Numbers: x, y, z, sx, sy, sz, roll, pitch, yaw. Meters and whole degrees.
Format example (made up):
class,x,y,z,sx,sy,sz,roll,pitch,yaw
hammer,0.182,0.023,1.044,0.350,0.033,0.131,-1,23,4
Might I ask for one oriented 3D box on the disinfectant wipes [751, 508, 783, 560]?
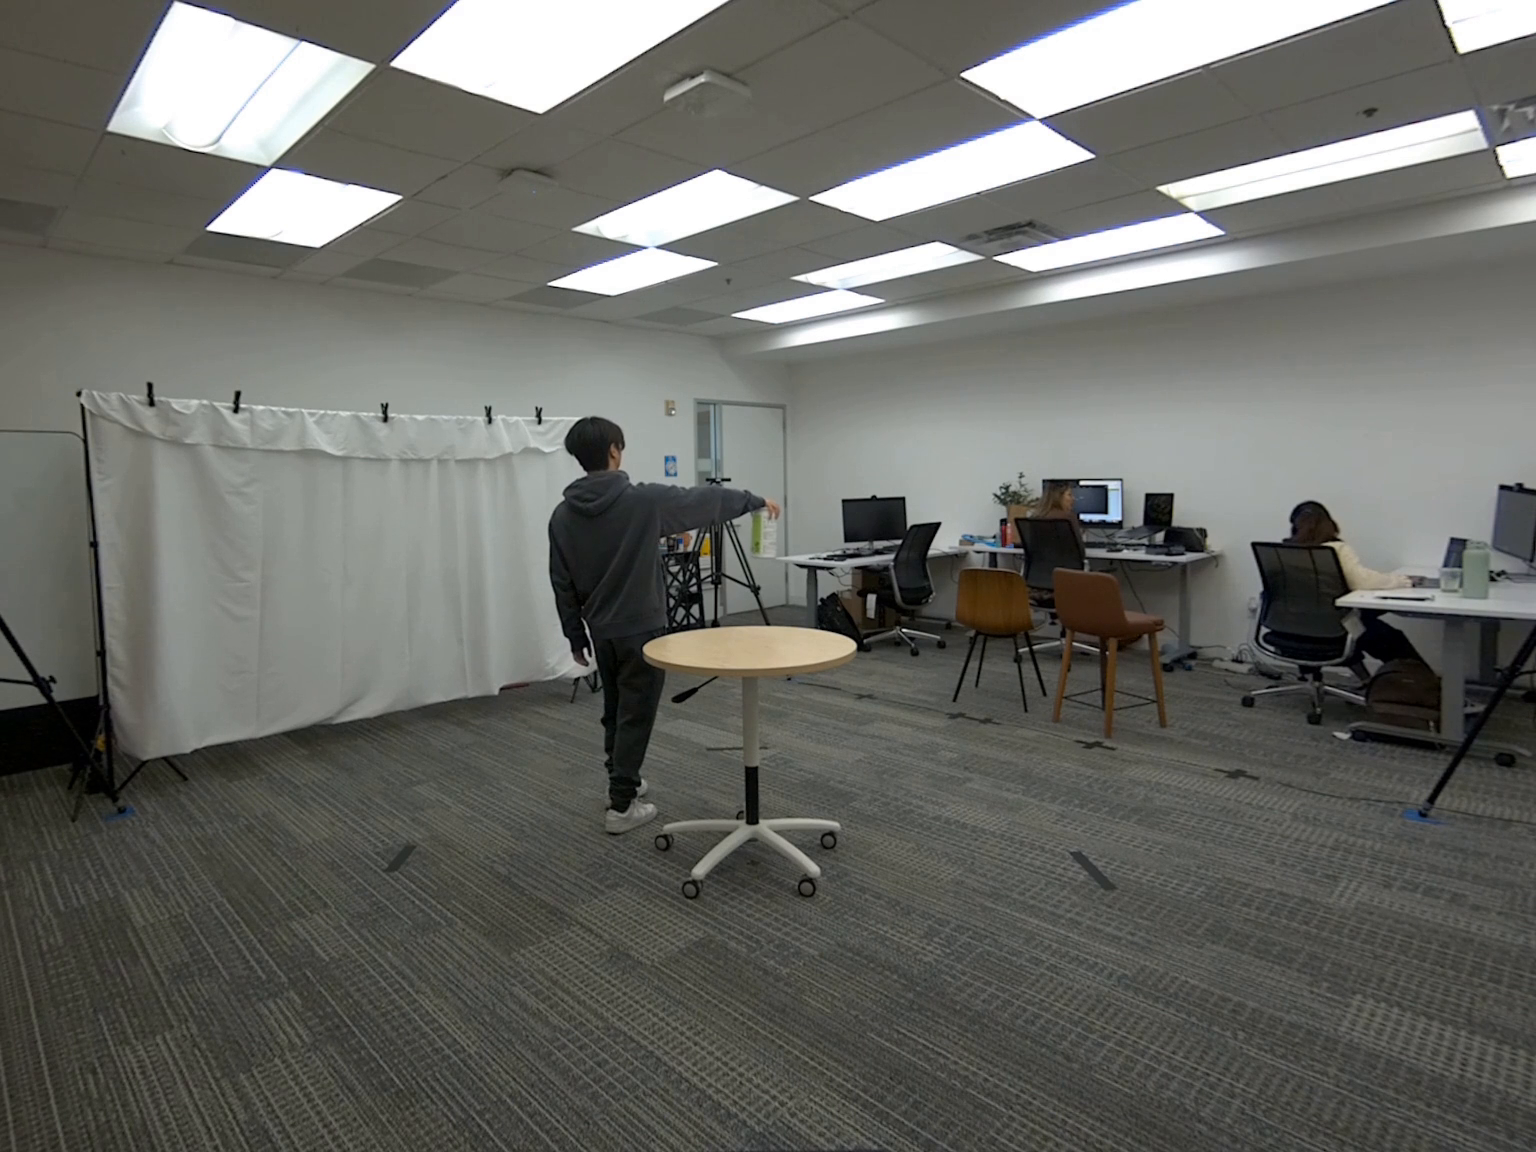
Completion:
class,x,y,z,sx,sy,sz,roll,pitch,yaw
disinfectant wipes,-0.007,-0.187,3.712,0.118,0.217,0.118,2,1,-2
